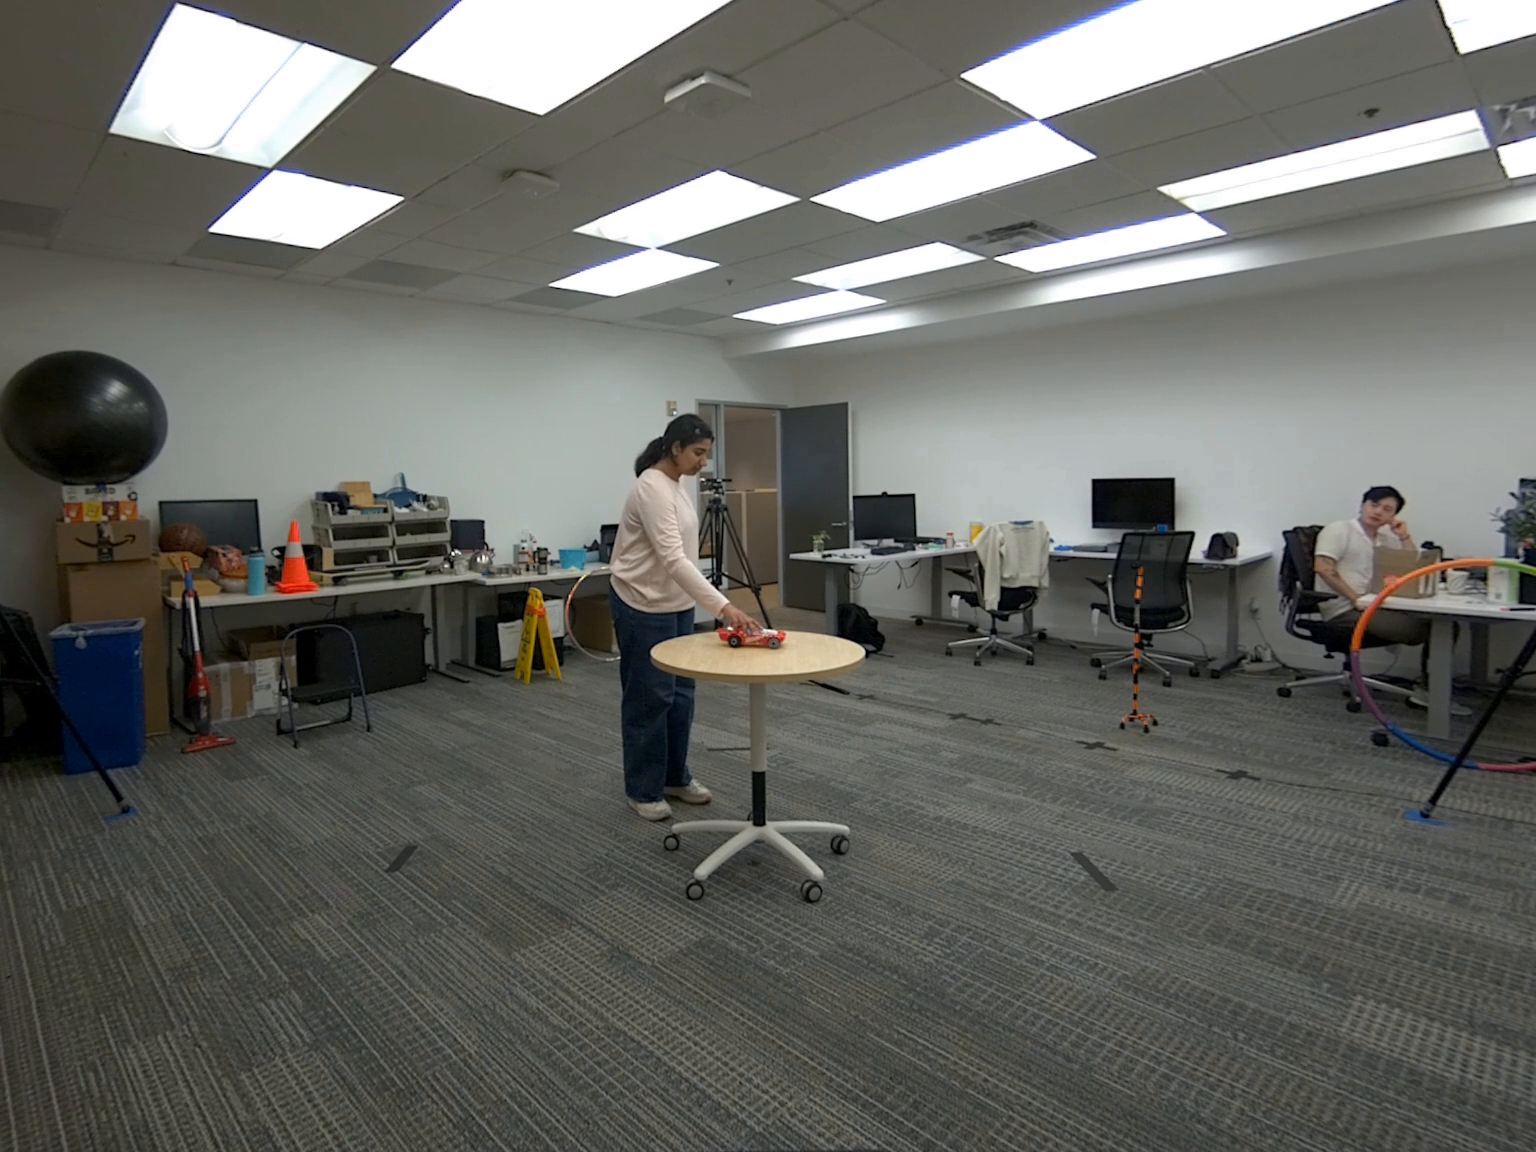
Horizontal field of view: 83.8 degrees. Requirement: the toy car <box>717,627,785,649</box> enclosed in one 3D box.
[{"bbox_3d":[-0.064,0.222,3.141,0.257,0.083,0.129,11,7,8],"label":"toy car"}]
